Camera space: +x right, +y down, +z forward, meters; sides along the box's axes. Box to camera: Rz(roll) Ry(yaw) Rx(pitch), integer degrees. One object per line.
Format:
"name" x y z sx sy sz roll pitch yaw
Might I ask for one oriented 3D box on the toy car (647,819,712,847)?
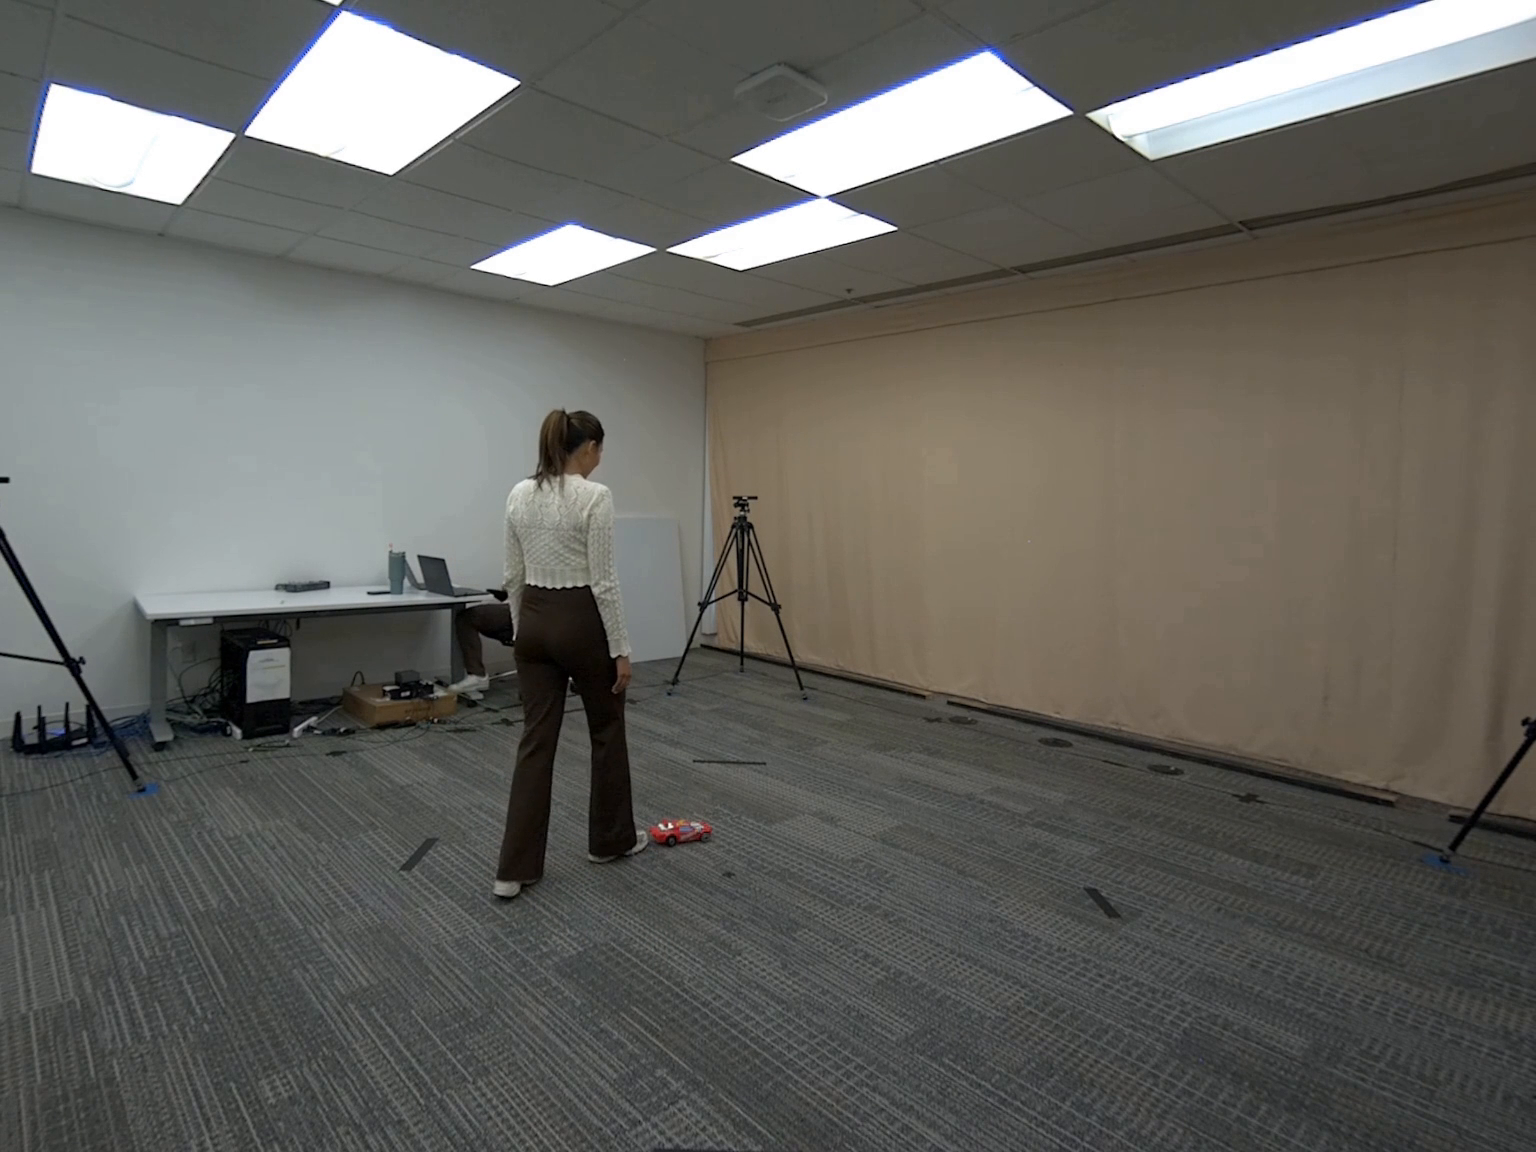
"toy car" -0.372 1.038 3.408 0.249 0.083 0.133 12 0 -23
